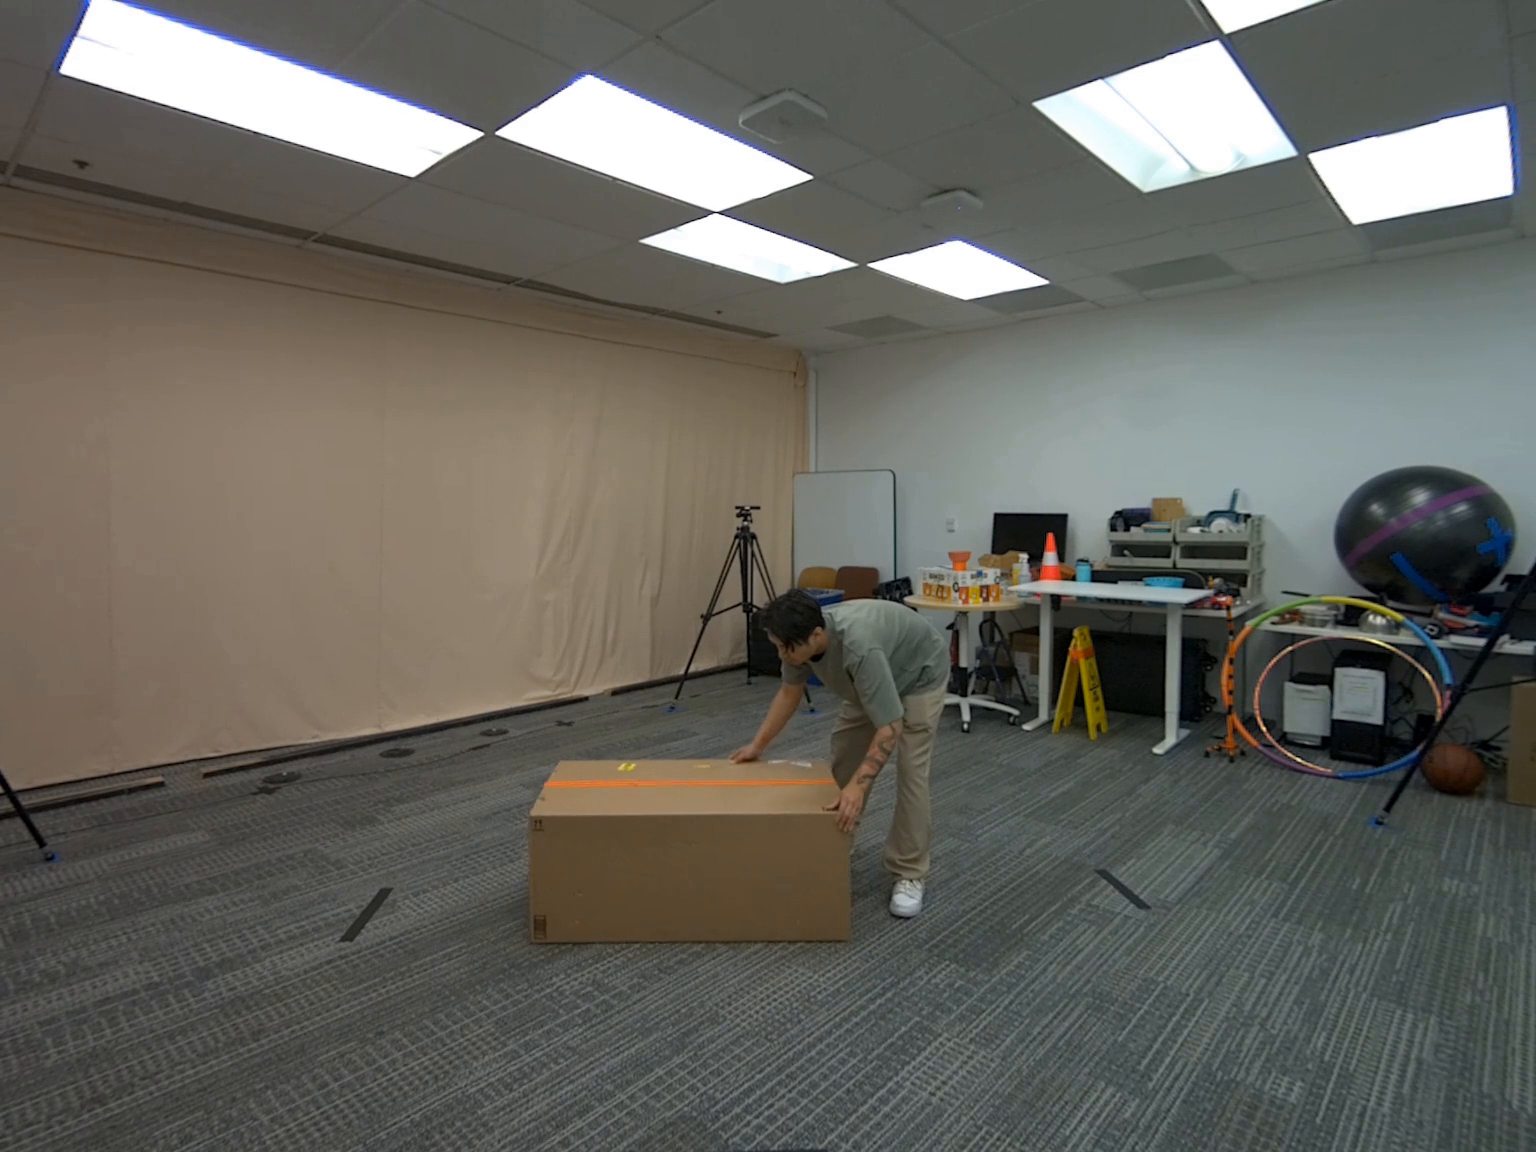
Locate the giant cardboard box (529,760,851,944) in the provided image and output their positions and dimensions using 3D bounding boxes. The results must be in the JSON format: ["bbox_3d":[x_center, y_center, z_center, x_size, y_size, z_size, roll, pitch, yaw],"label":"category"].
[{"bbox_3d":[-0.270,0.930,2.951,1.025,0.425,0.579,0,4,-1],"label":"giant cardboard box"}]
